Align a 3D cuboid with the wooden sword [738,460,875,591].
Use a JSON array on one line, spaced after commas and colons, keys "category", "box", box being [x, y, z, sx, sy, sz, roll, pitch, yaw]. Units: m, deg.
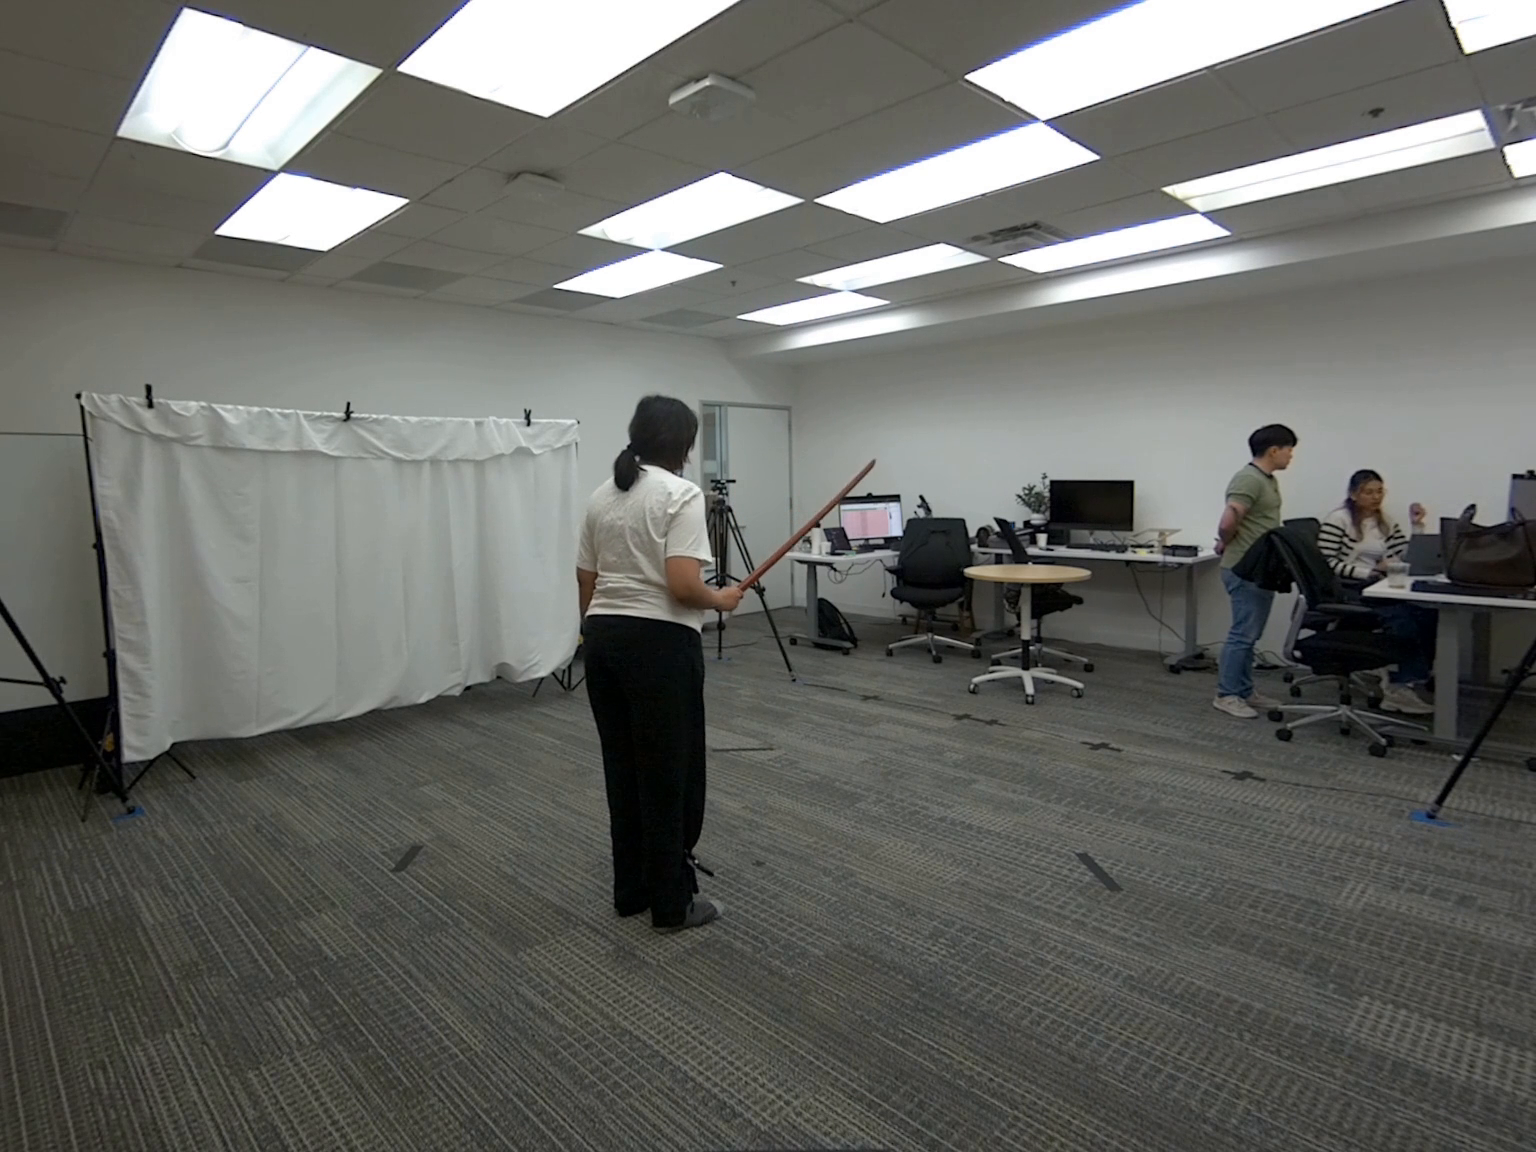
[{"category": "wooden sword", "box": [0.143, -0.168, 3.083, 0.025, 0.050, 1.021, 13, 42, 37]}]
